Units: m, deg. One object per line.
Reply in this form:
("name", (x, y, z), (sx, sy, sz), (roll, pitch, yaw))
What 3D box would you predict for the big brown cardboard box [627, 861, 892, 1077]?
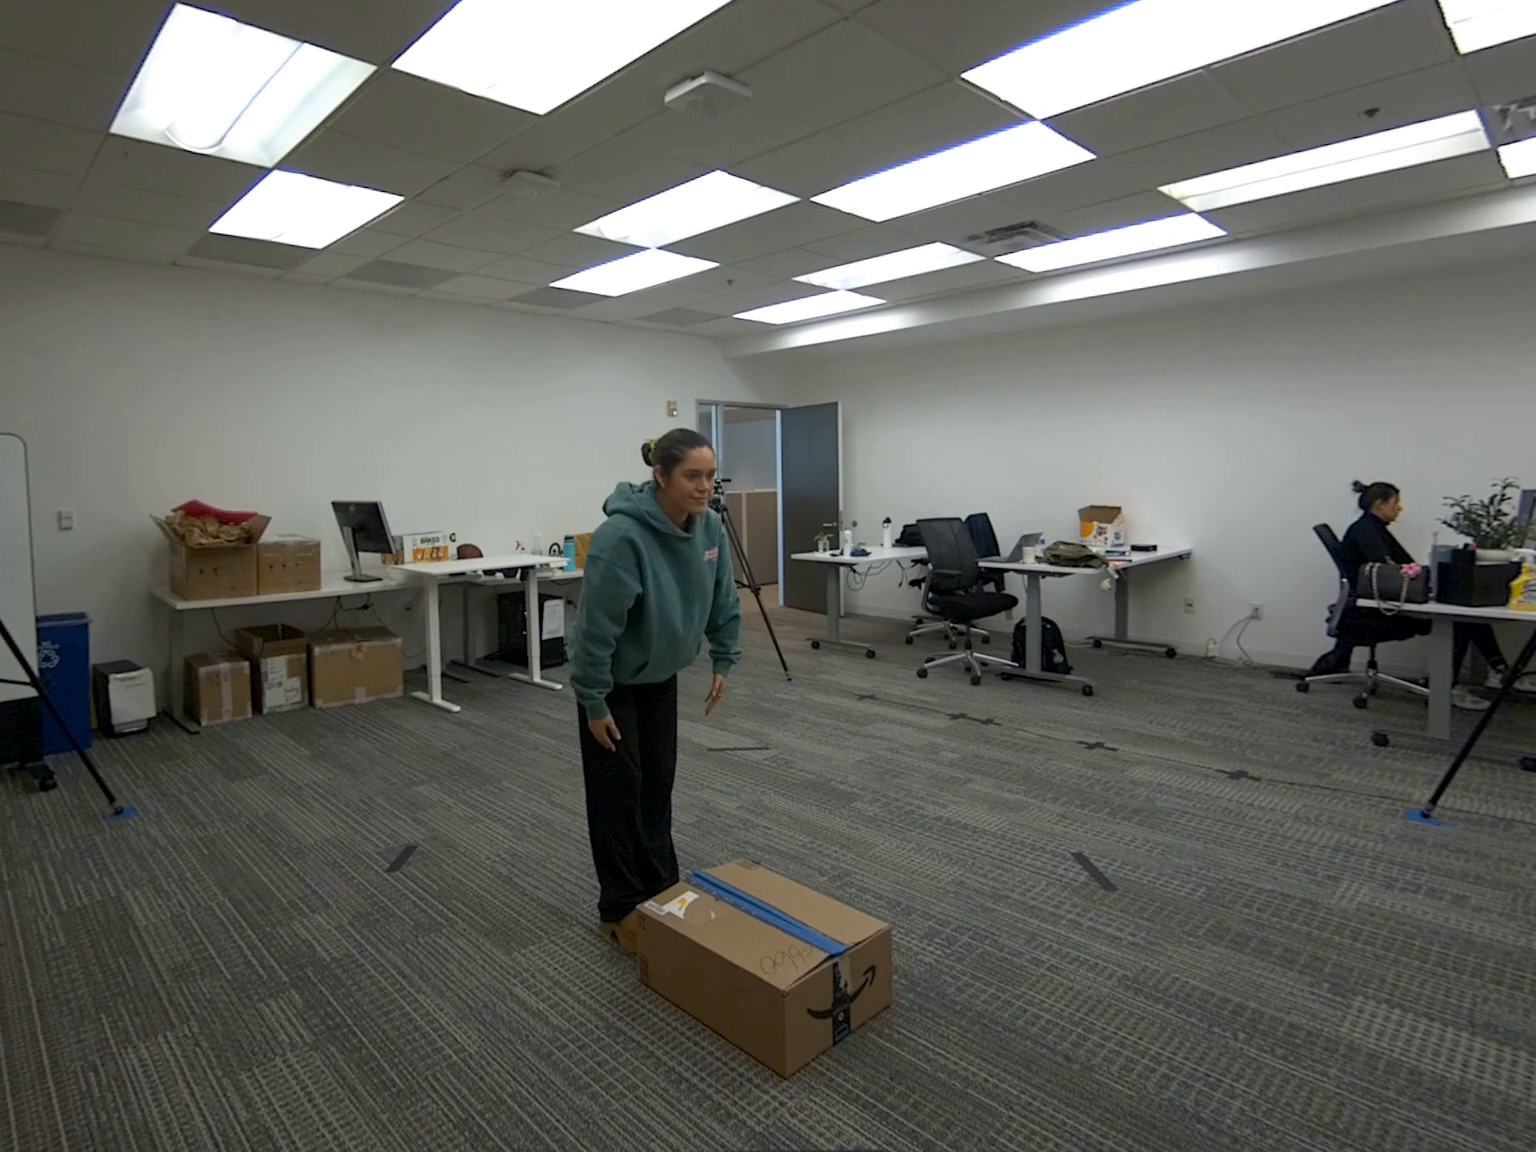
("big brown cardboard box", (-0.017, 1.032, 2.319), (0.407, 0.232, 0.608), (-8, 10, -44))
